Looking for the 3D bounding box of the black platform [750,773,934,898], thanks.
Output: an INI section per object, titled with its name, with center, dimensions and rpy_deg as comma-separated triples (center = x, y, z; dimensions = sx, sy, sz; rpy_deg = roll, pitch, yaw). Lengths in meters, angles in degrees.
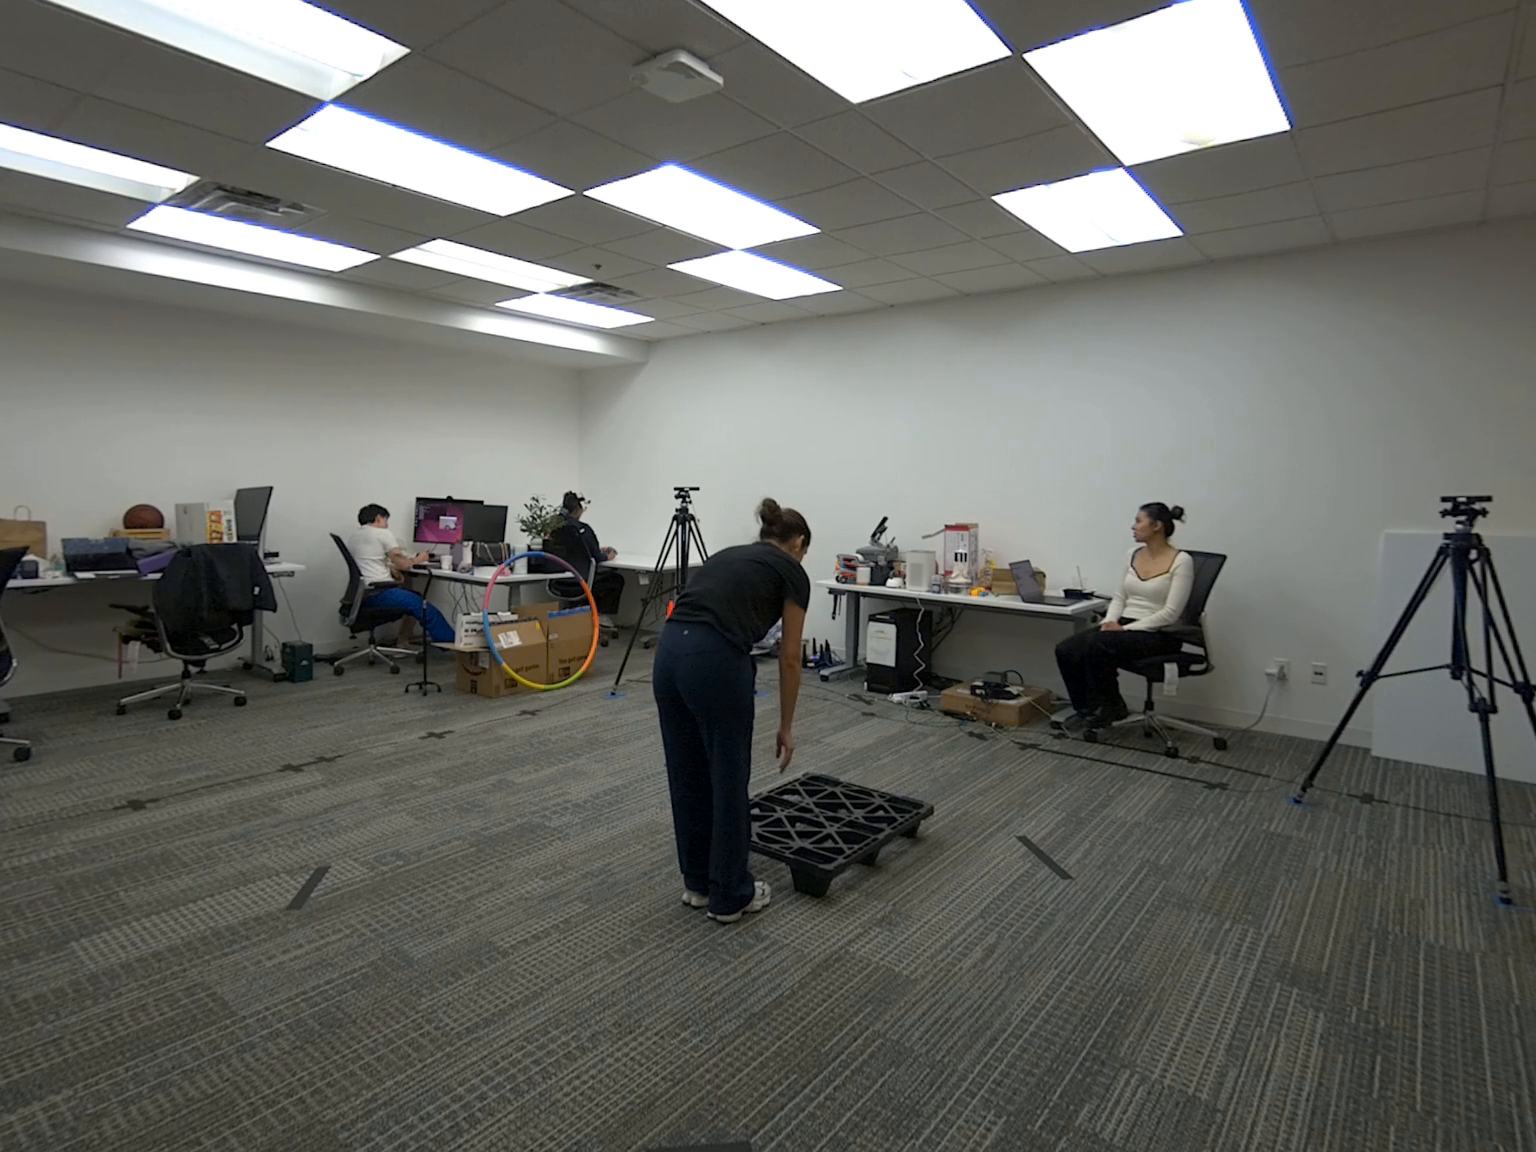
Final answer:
[black platform]
center = 0.212, 0.989, 3.322
dimensions = 0.625, 0.143, 0.782
rpy_deg = 5, 6, 38
